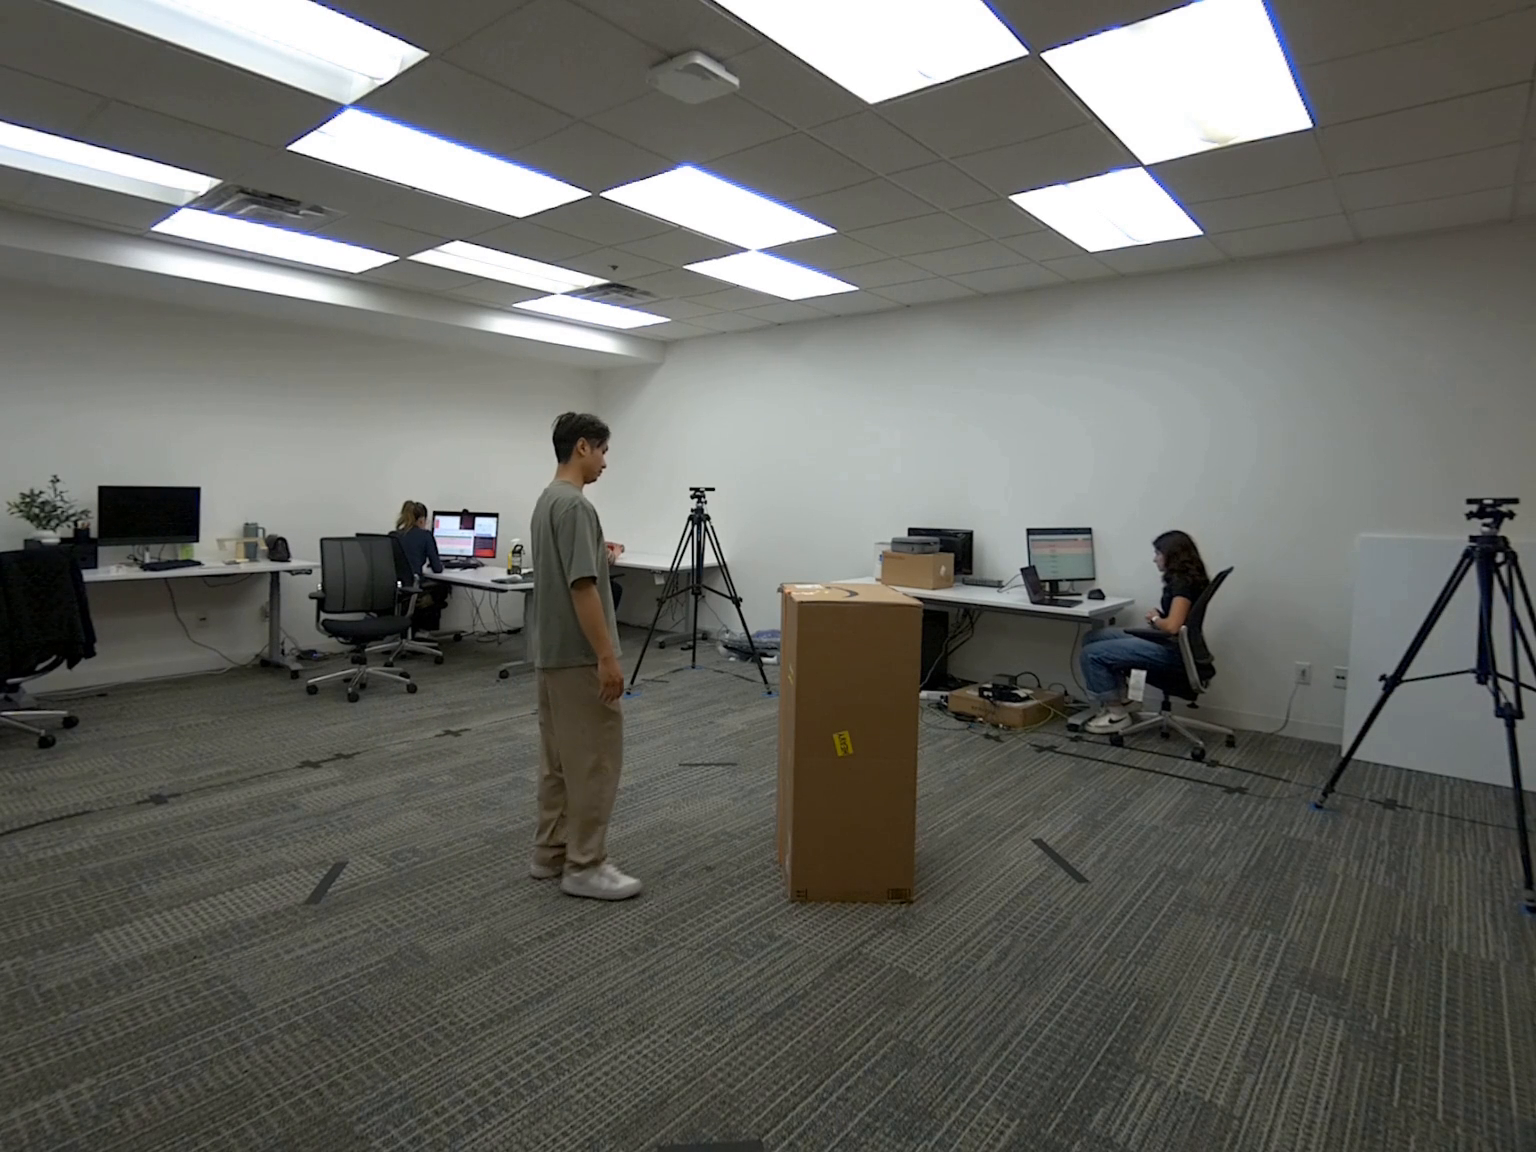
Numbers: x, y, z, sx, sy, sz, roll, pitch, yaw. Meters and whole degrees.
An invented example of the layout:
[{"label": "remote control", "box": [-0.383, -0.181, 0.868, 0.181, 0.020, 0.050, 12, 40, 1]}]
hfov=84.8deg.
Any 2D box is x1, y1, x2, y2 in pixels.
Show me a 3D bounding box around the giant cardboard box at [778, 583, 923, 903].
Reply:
[{"label": "giant cardboard box", "box": [0.267, 0.569, 3.133, 0.425, 1.022, 0.582, 1, 4, -4]}]
